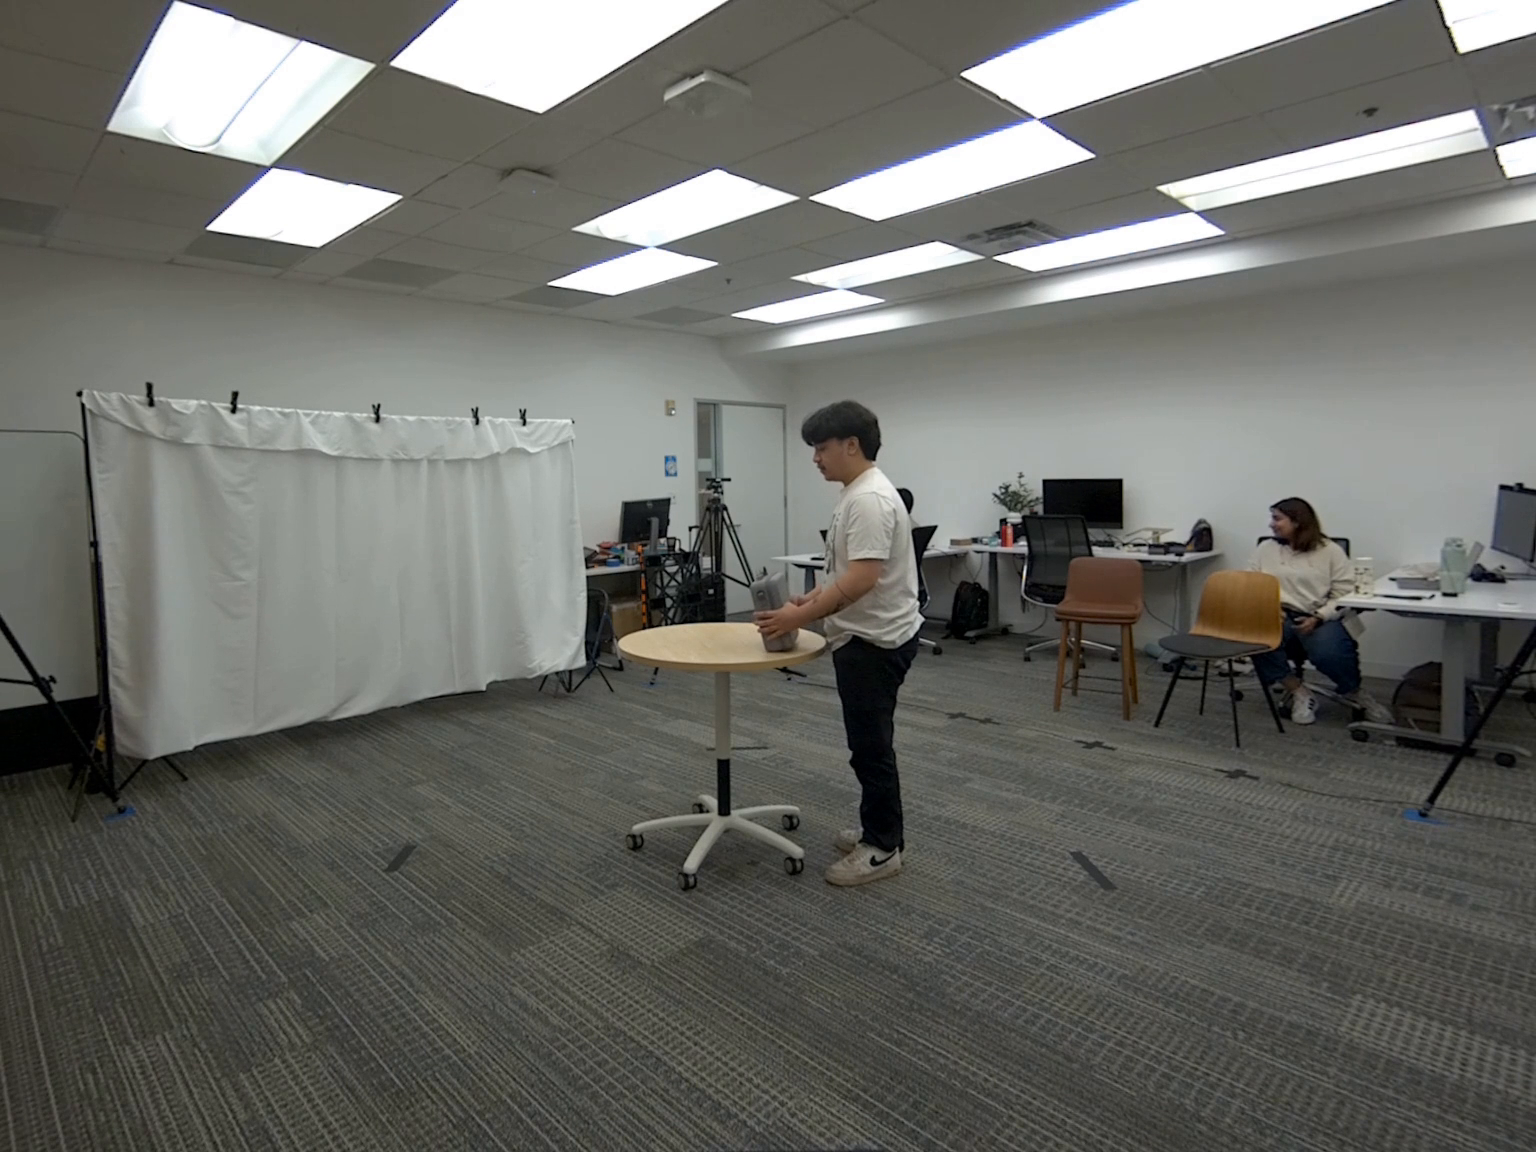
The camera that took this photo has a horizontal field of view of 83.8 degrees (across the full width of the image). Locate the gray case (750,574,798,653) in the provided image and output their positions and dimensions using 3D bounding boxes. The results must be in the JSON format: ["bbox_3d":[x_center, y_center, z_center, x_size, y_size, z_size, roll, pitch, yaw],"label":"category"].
[{"bbox_3d":[0.024,0.114,3.043,0.105,0.260,0.255,-10,3,10],"label":"gray case"}]
